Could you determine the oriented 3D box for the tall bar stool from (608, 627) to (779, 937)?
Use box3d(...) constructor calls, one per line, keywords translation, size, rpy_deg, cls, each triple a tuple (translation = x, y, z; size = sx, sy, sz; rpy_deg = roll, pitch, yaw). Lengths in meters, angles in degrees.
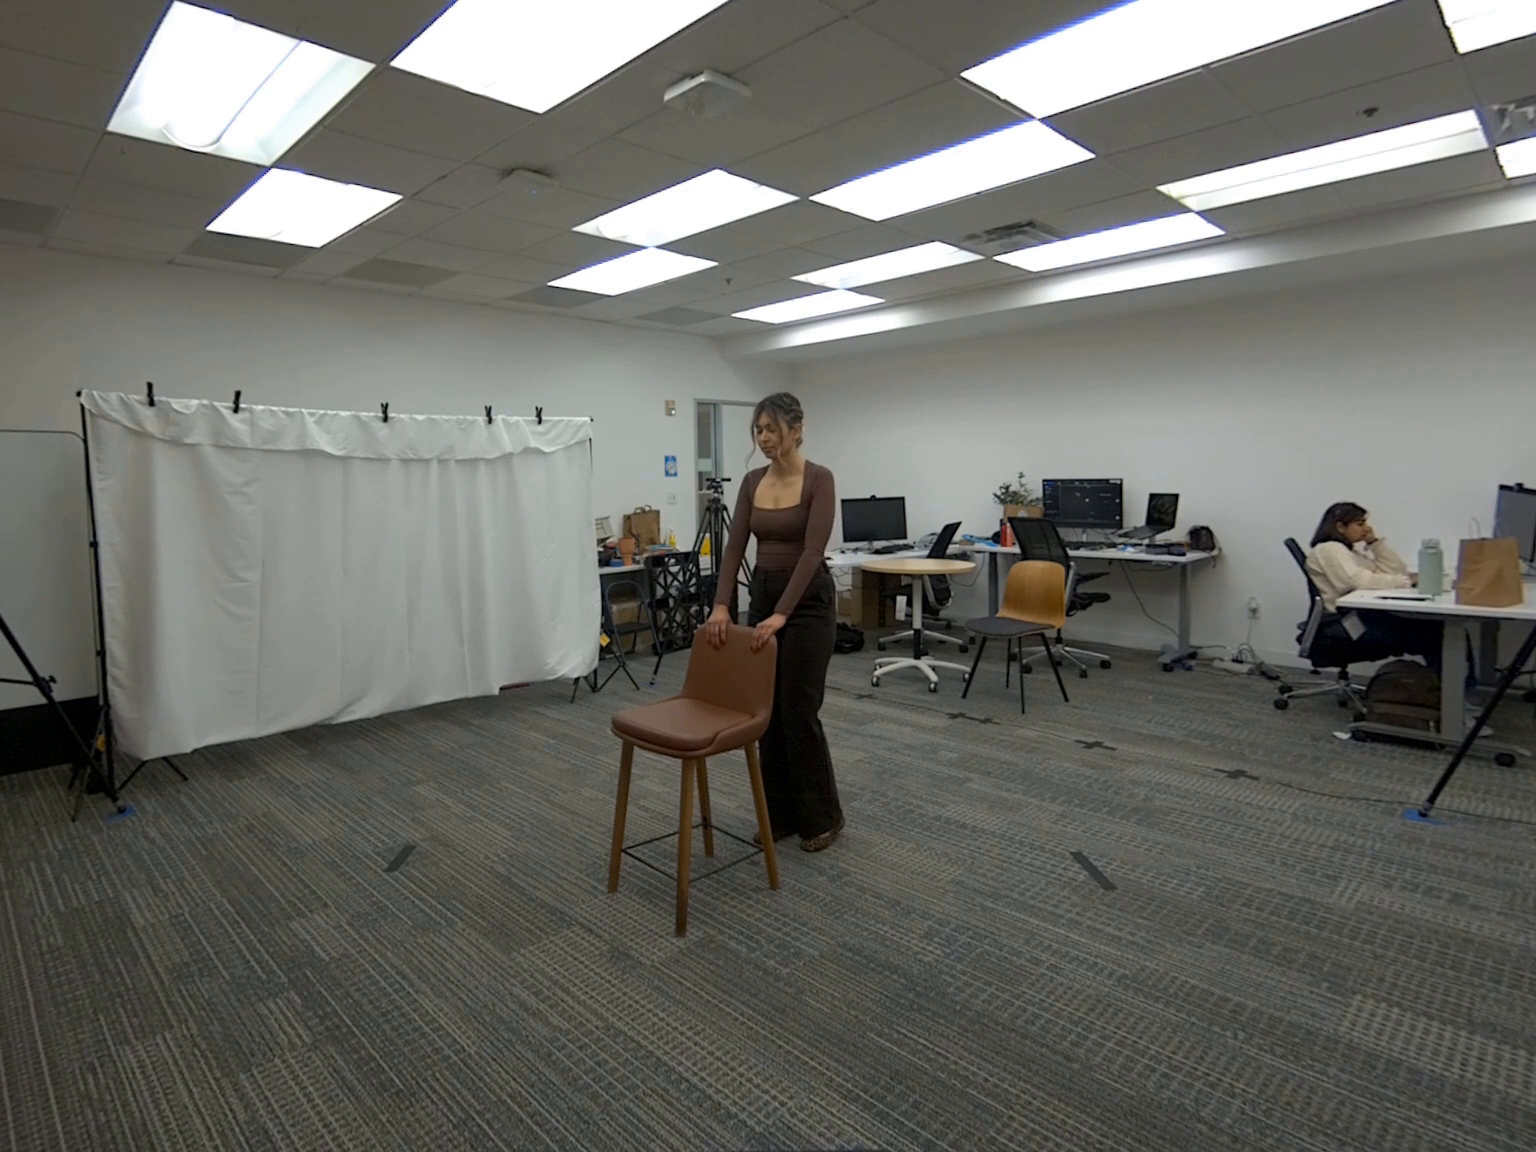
box3d(translation=(-0.246, 0.635, 2.881), size=(0.455, 0.887, 0.470), rpy_deg=(-2, 4, -42), cls="tall bar stool")
